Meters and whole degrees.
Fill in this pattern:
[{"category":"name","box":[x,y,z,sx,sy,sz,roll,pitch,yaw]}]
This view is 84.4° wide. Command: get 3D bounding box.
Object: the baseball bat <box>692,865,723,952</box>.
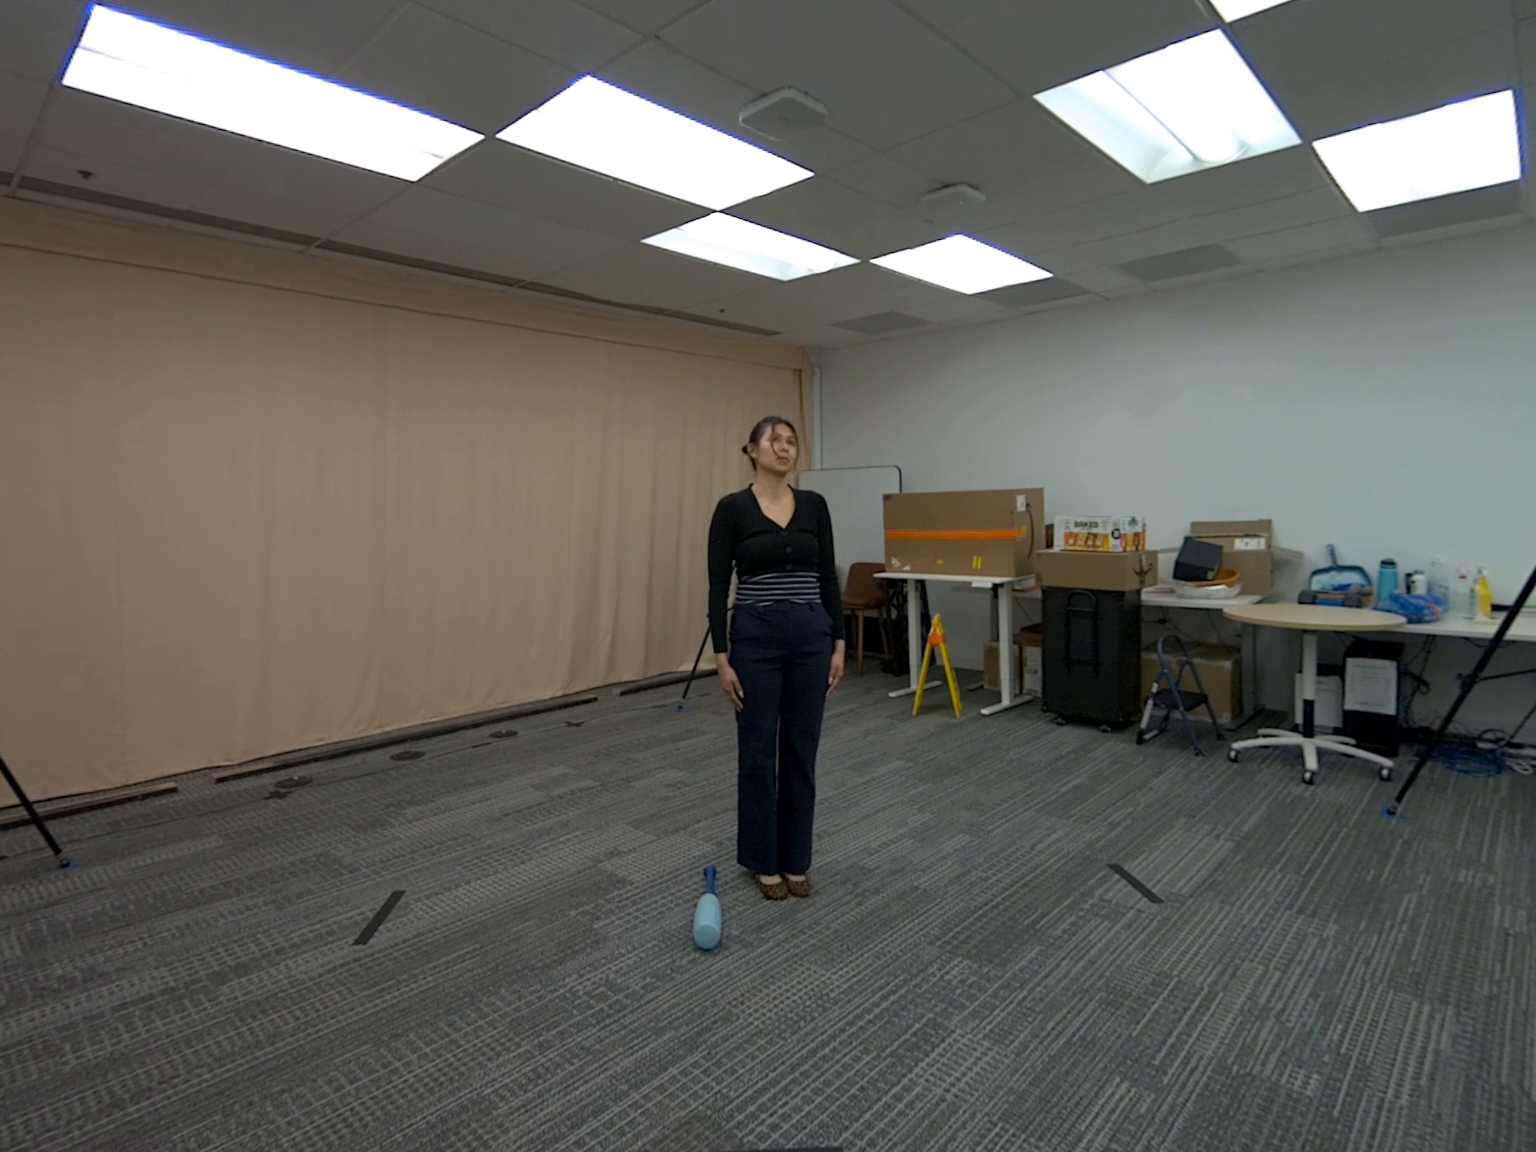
[{"category":"baseball bat","box":[-0.205,1.120,2.879,0.089,0.089,0.544,-1,1,-4]}]
